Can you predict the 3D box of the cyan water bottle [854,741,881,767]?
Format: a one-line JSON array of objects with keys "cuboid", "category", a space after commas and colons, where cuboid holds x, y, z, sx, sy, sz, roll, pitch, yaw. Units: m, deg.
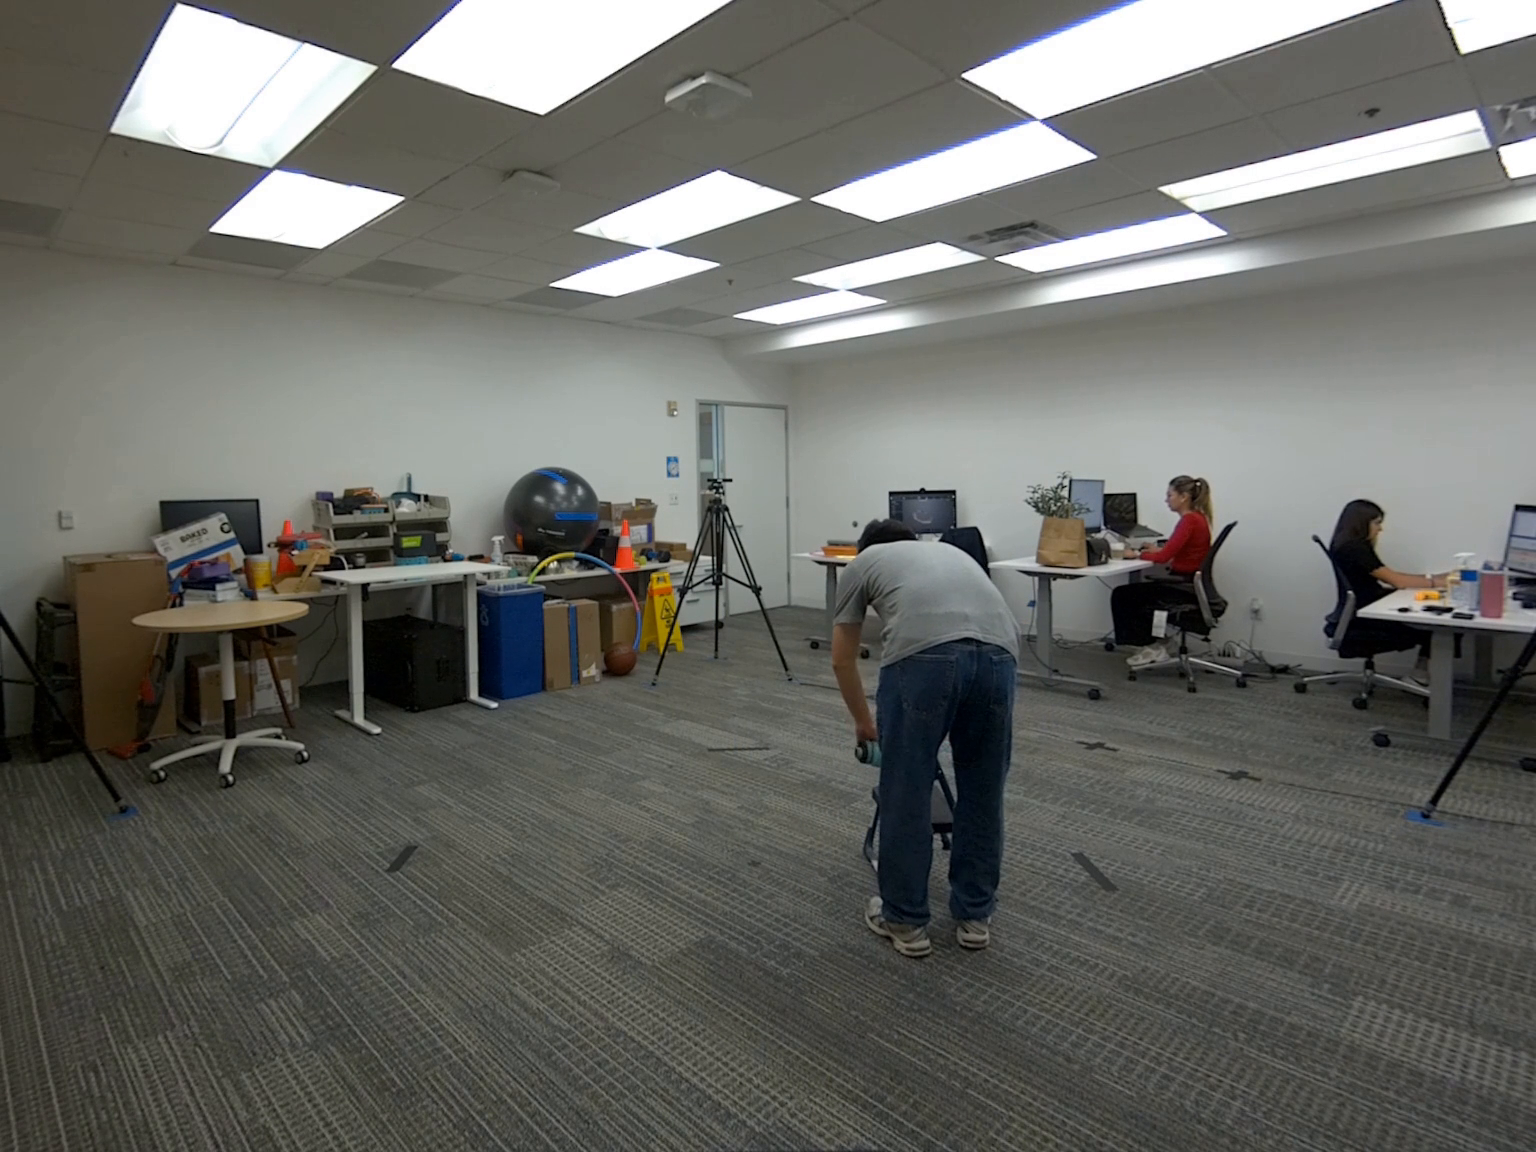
[{"cuboid": [0.467, 0.621, 2.915, 0.282, 0.092, 0.093, 6, 4, -4], "category": "cyan water bottle"}]
